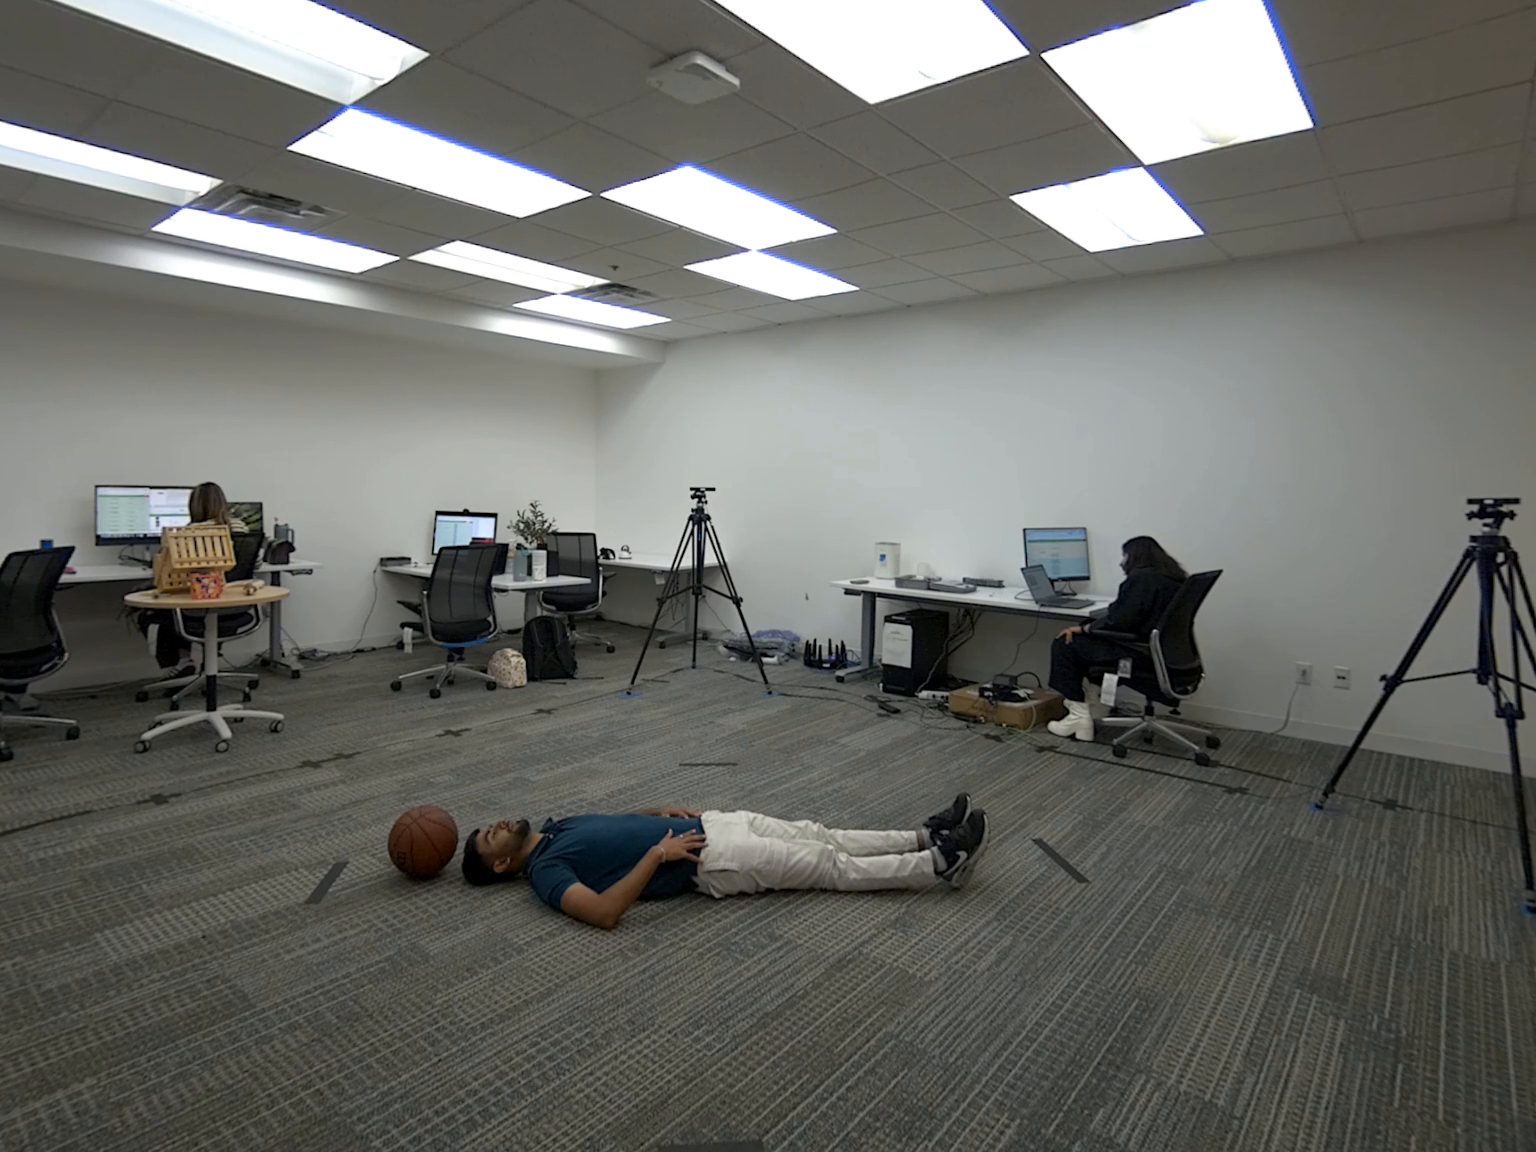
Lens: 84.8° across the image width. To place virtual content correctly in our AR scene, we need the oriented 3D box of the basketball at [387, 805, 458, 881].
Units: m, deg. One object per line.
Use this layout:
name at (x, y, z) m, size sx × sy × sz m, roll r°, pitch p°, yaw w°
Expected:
basketball at (-1.237, 0.936, 3.020) m, size 0.235 × 0.235 × 0.237 m, roll 1°, pitch 4°, yaw -2°
